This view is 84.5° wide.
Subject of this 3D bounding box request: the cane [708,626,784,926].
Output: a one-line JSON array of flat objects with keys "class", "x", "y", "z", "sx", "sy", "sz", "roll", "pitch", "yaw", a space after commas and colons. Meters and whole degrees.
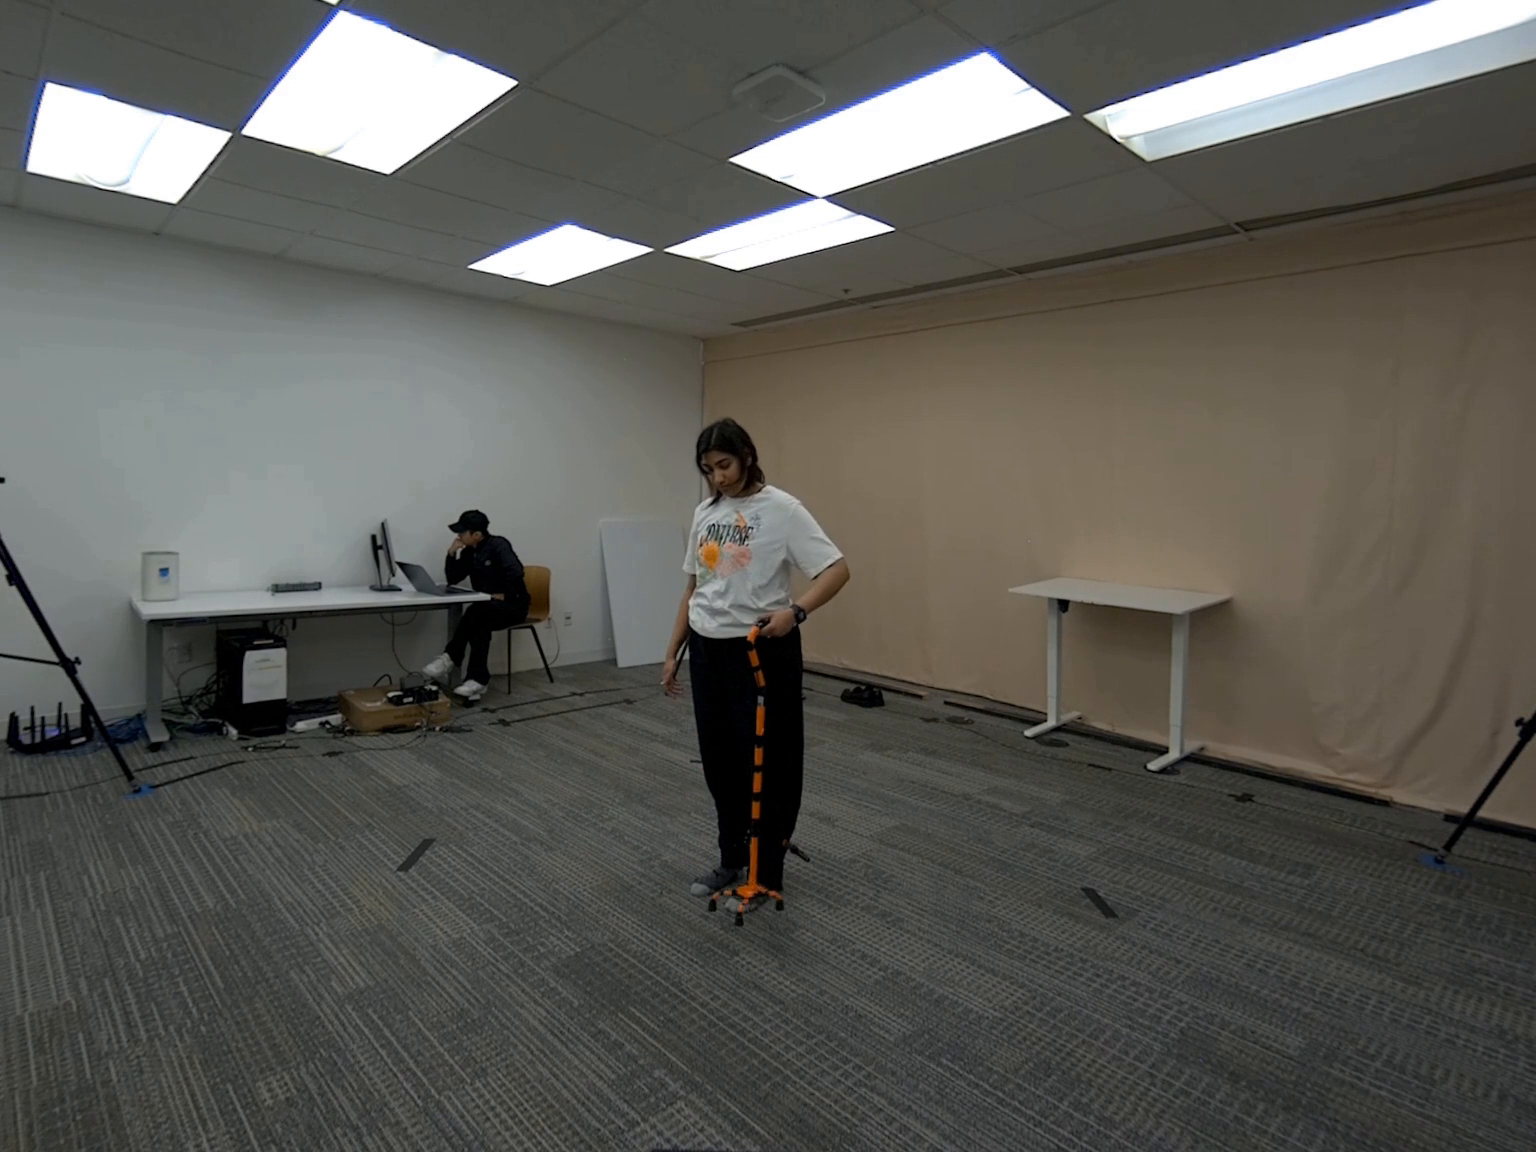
[{"class": "cane", "x": -0.045, "y": 0.607, "z": 2.632, "sx": 0.201, "sy": 0.907, "sz": 0.155, "roll": 2, "pitch": 3, "yaw": -45}]
